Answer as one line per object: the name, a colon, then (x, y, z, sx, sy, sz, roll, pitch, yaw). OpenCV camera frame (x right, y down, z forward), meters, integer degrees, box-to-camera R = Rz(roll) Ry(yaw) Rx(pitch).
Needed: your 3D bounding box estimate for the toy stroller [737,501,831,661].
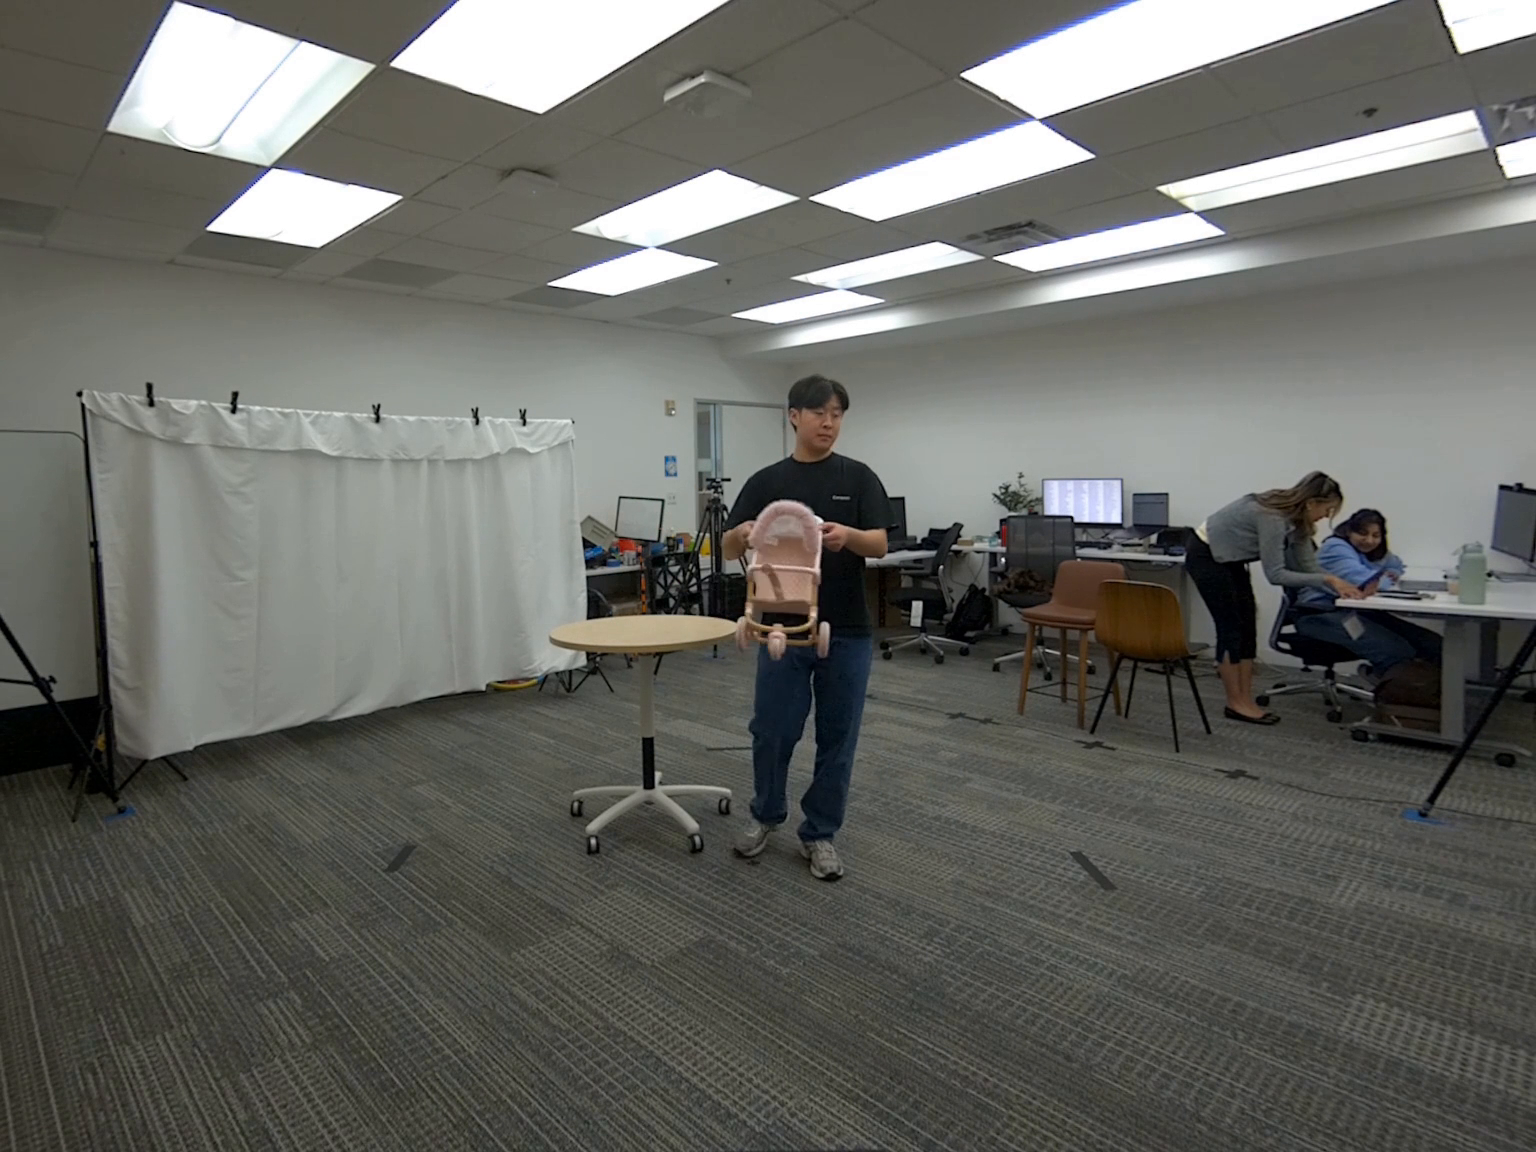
toy stroller: (0.053, 0.011, 2.574, 0.285, 0.543, 0.332, 0, -18, 11)
